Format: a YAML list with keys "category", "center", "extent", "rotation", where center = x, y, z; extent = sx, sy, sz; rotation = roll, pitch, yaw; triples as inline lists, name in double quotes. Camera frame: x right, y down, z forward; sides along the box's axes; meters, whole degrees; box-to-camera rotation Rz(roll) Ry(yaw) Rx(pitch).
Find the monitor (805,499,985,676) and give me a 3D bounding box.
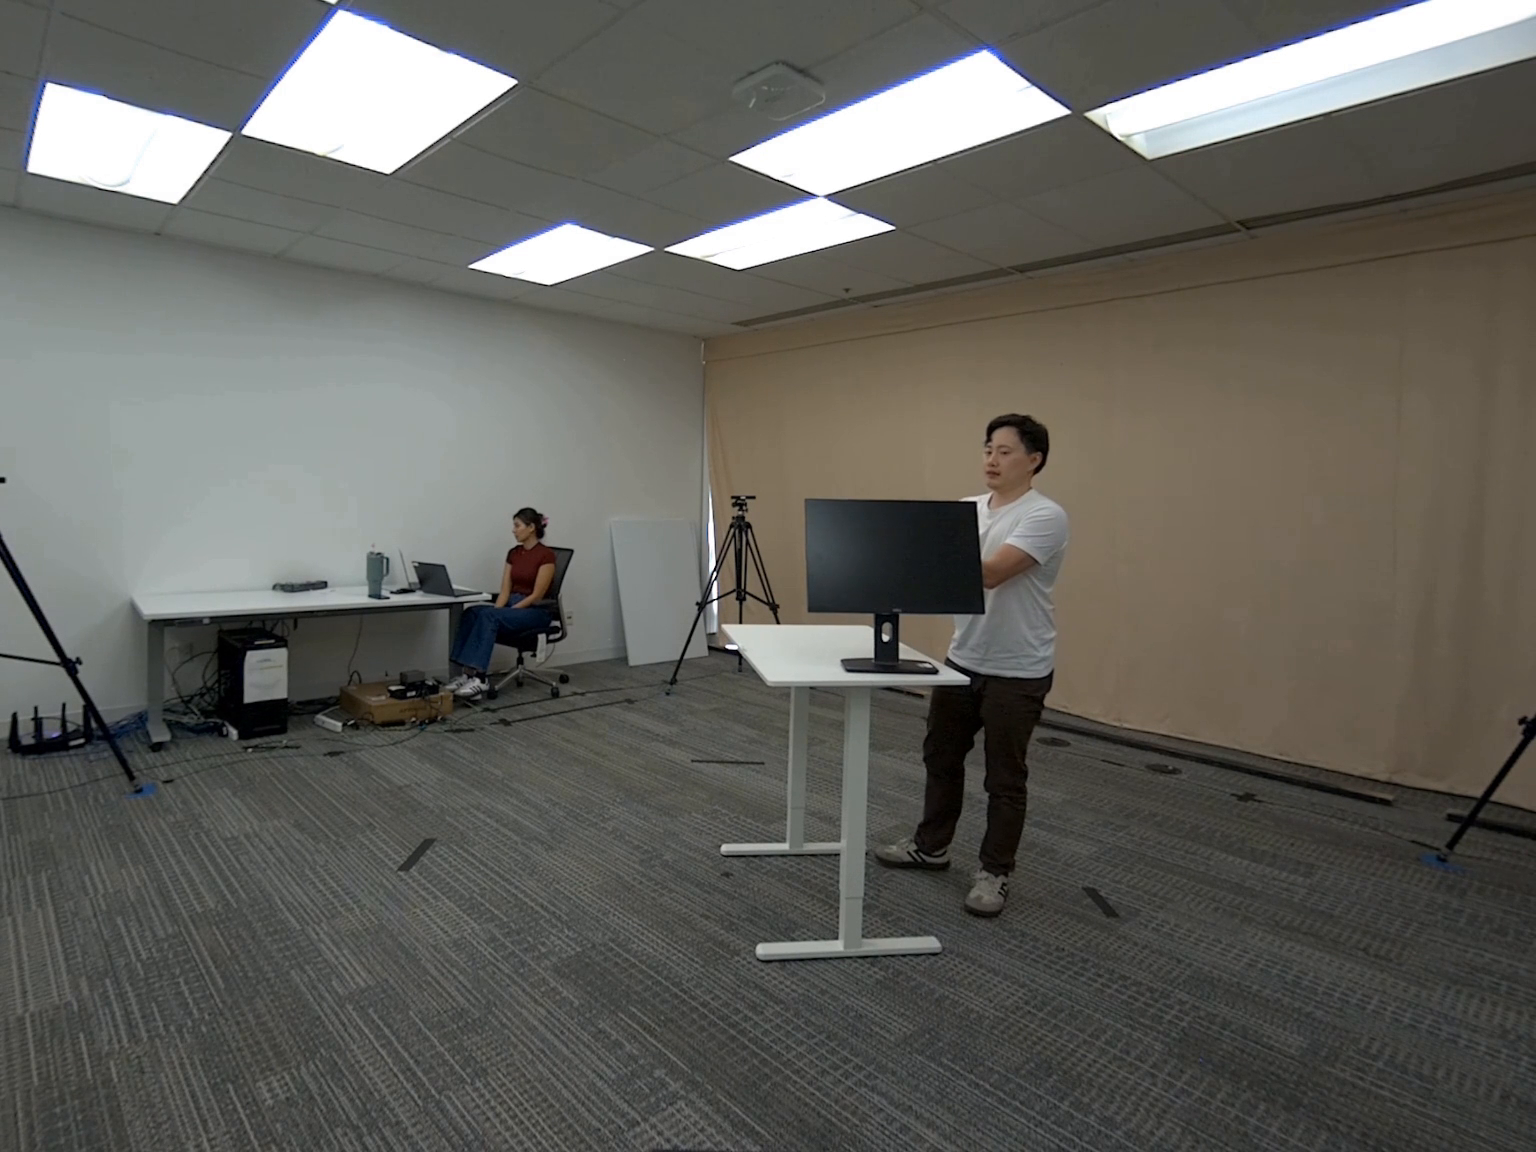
- category: "monitor"
  center: [0.371, 0.031, 2.569]
  extent: [0.537, 0.523, 0.187]
  rotation: [1, -1, -4]
